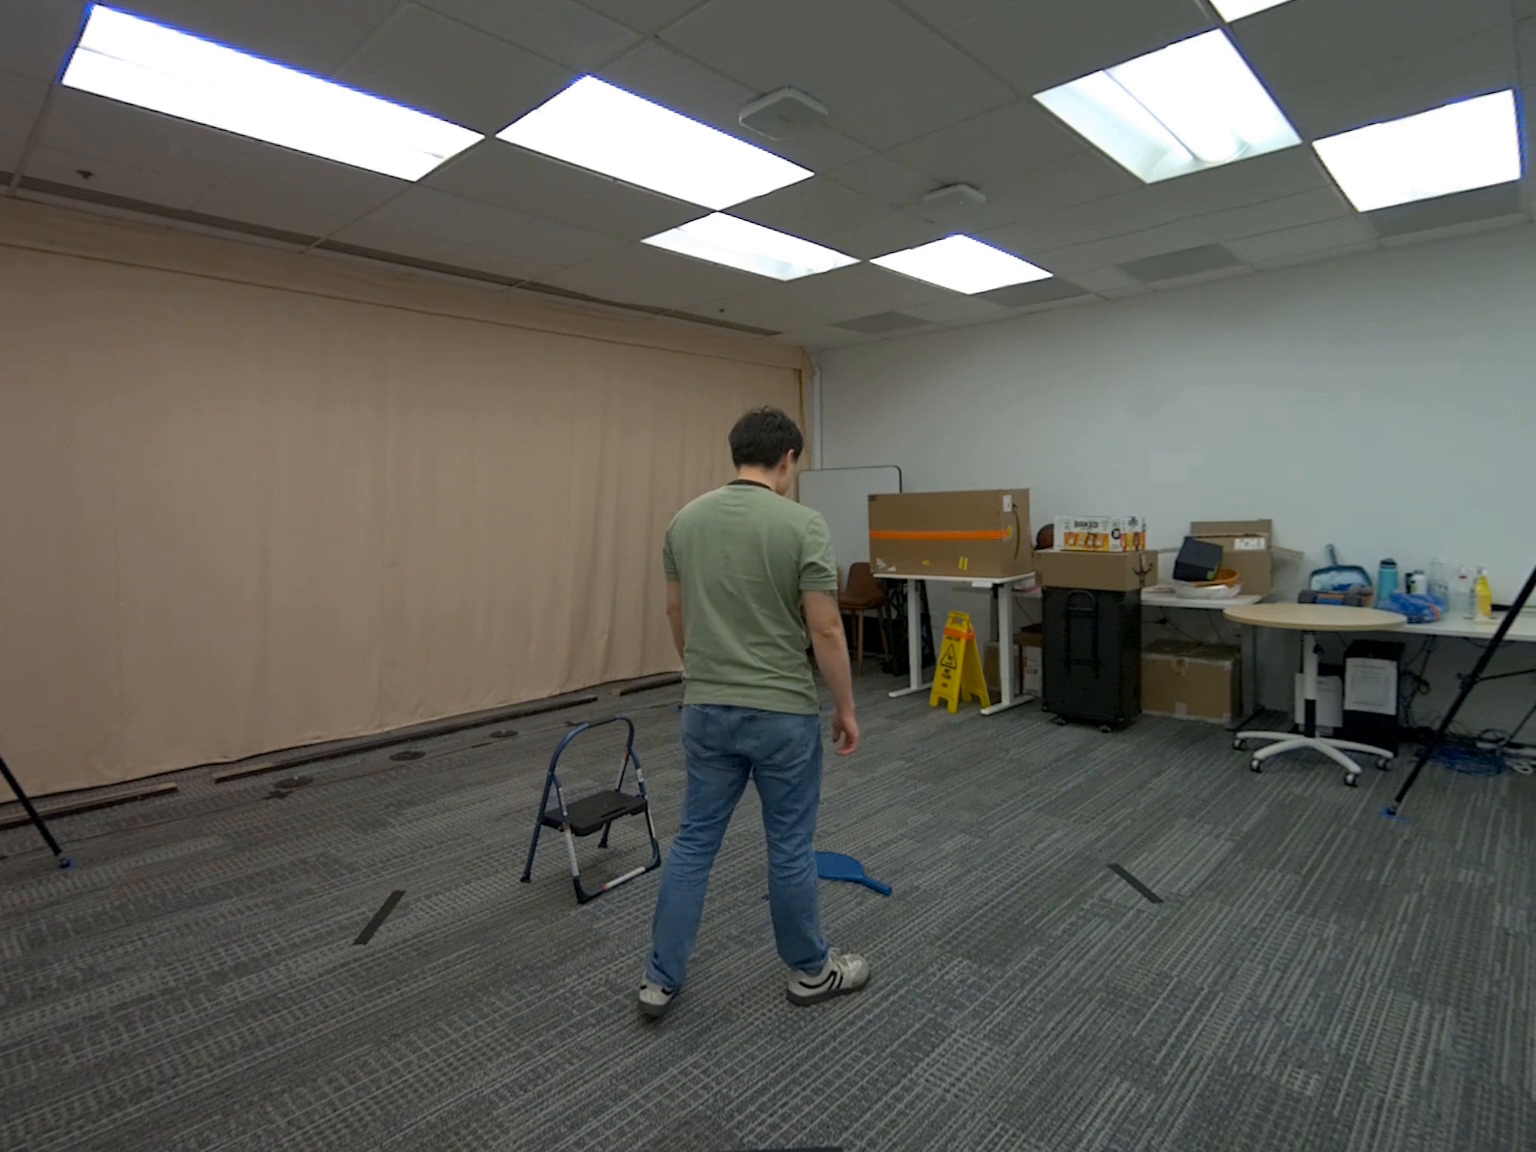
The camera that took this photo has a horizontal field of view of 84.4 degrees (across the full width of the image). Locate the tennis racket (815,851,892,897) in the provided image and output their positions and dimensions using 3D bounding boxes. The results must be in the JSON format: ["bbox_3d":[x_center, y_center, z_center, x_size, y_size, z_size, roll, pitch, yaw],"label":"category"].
[{"bbox_3d":[0.298,1.108,3.155,0.207,0.032,0.447,-4,5,-38],"label":"tennis racket"}]
